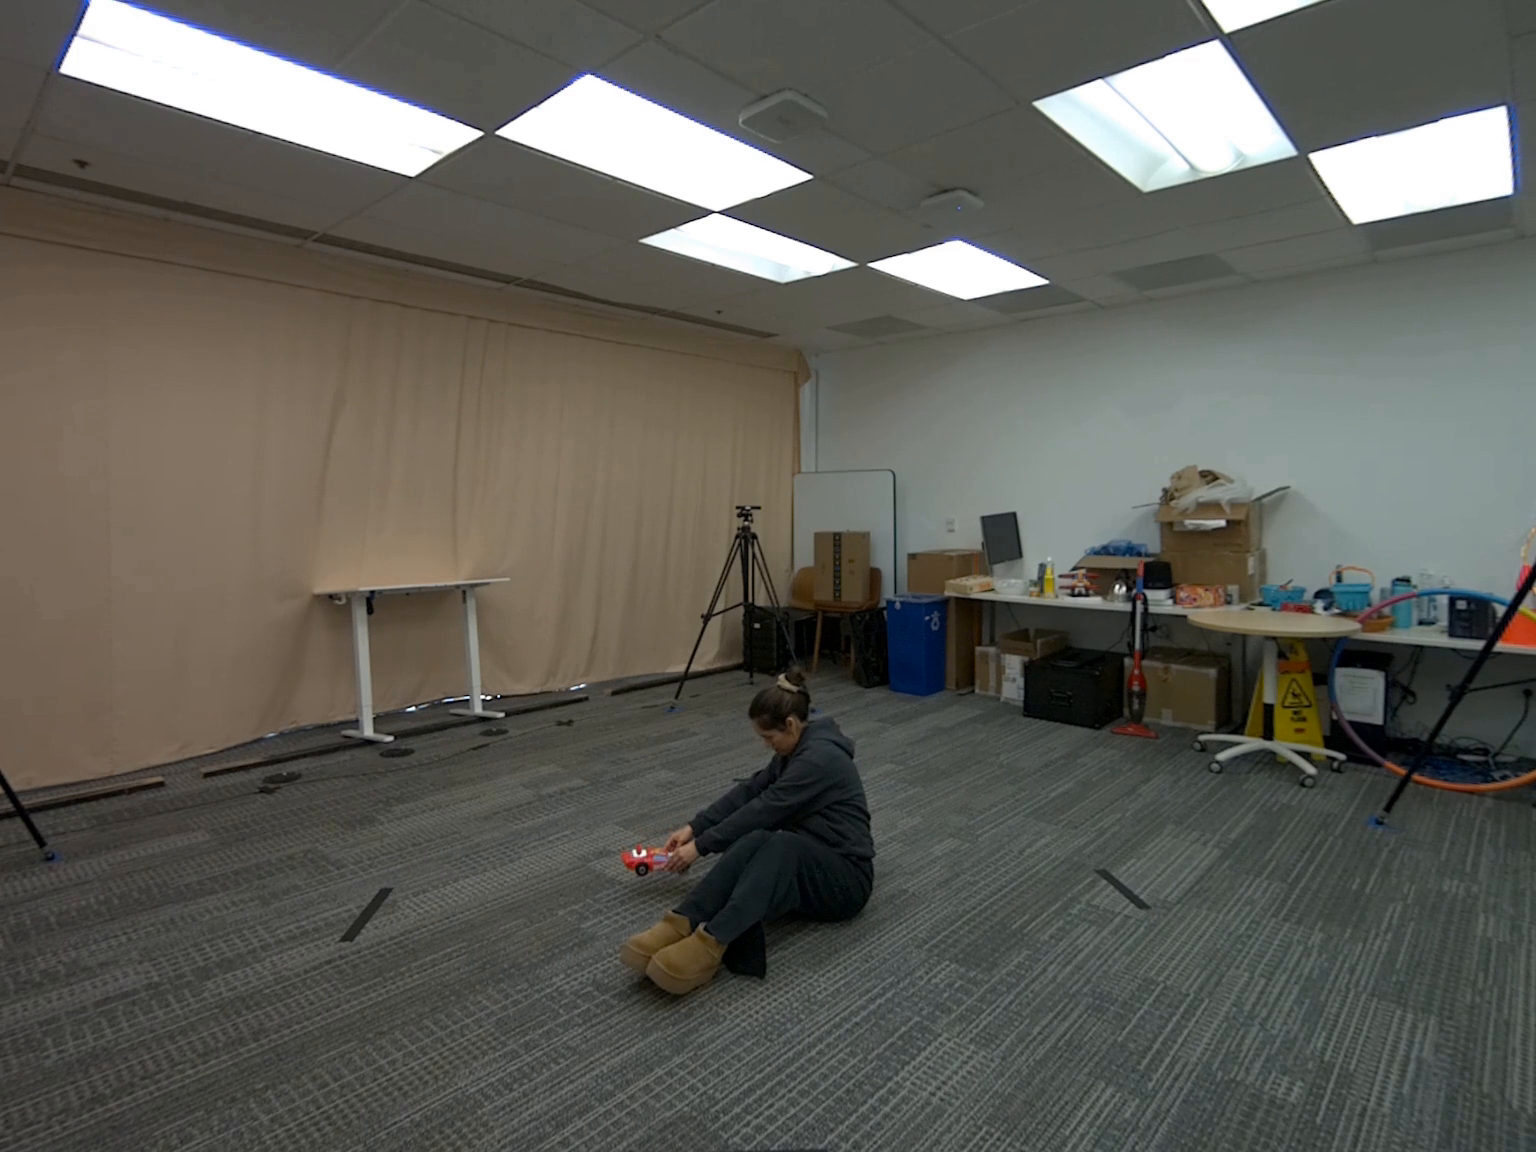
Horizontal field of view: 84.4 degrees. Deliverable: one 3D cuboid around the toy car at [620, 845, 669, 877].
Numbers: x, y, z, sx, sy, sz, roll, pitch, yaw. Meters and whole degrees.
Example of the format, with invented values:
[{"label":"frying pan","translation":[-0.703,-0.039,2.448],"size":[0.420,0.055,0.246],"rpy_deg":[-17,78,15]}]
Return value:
[{"label":"toy car","translation":[-0.389,1.032,3.032],"size":[0.252,0.083,0.131],"rpy_deg":[15,-2,-8]}]
